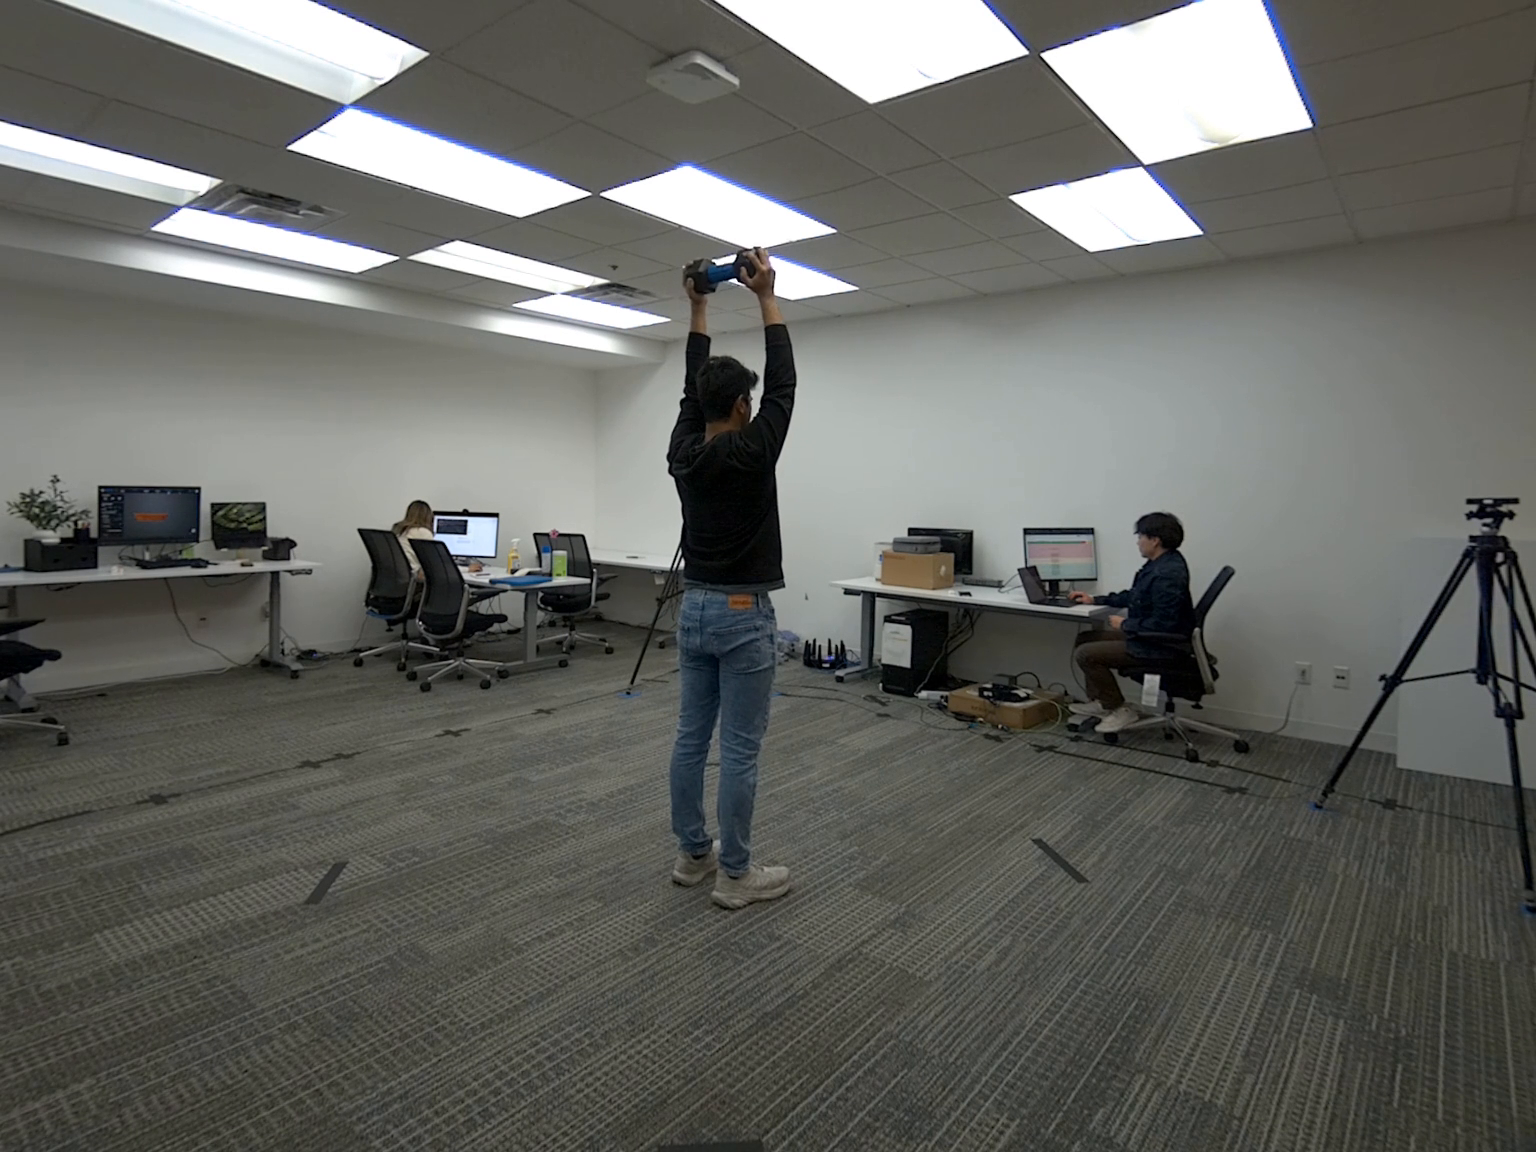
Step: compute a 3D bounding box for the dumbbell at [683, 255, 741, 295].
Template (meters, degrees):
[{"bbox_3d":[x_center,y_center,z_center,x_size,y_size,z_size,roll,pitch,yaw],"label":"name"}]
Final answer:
[{"bbox_3d":[-0.152,-1.047,2.930,0.303,0.108,0.119,3,5,39],"label":"dumbbell"}]
